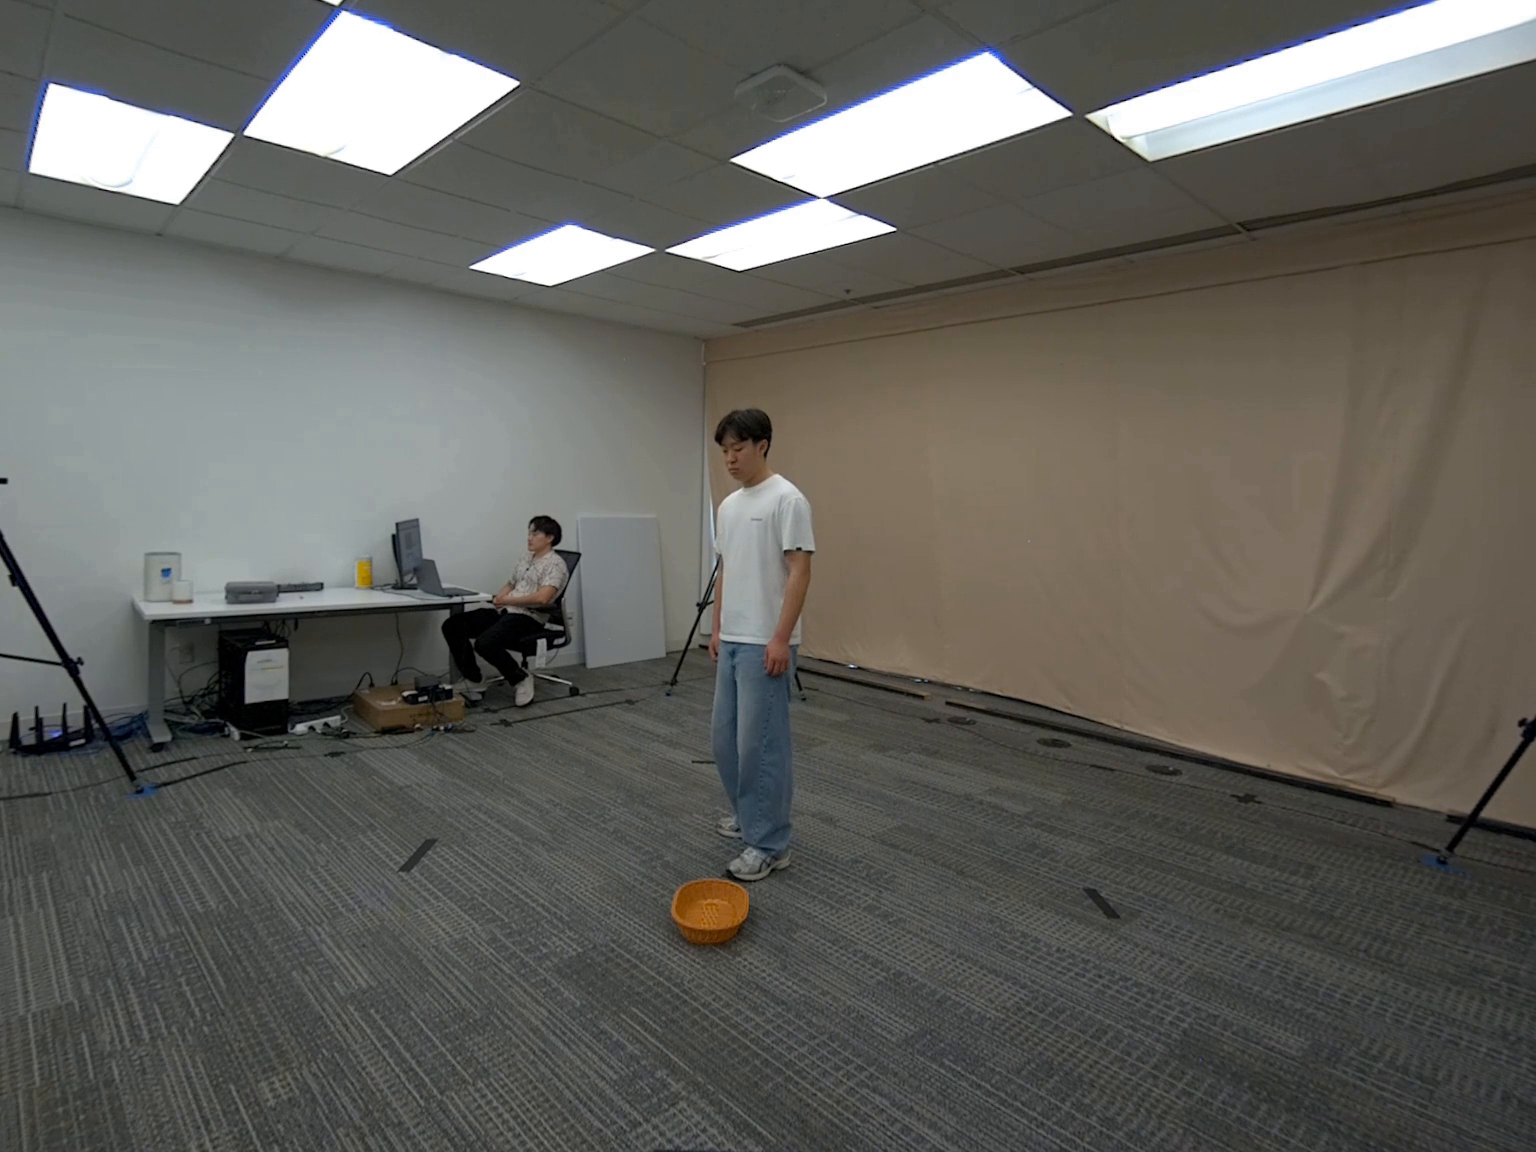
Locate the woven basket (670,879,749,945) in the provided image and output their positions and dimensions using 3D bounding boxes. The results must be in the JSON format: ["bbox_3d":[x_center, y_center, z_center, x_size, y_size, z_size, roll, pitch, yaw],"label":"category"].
[{"bbox_3d":[-0.203,1.100,2.753,0.253,0.073,0.350,2,5,3],"label":"woven basket"}]
